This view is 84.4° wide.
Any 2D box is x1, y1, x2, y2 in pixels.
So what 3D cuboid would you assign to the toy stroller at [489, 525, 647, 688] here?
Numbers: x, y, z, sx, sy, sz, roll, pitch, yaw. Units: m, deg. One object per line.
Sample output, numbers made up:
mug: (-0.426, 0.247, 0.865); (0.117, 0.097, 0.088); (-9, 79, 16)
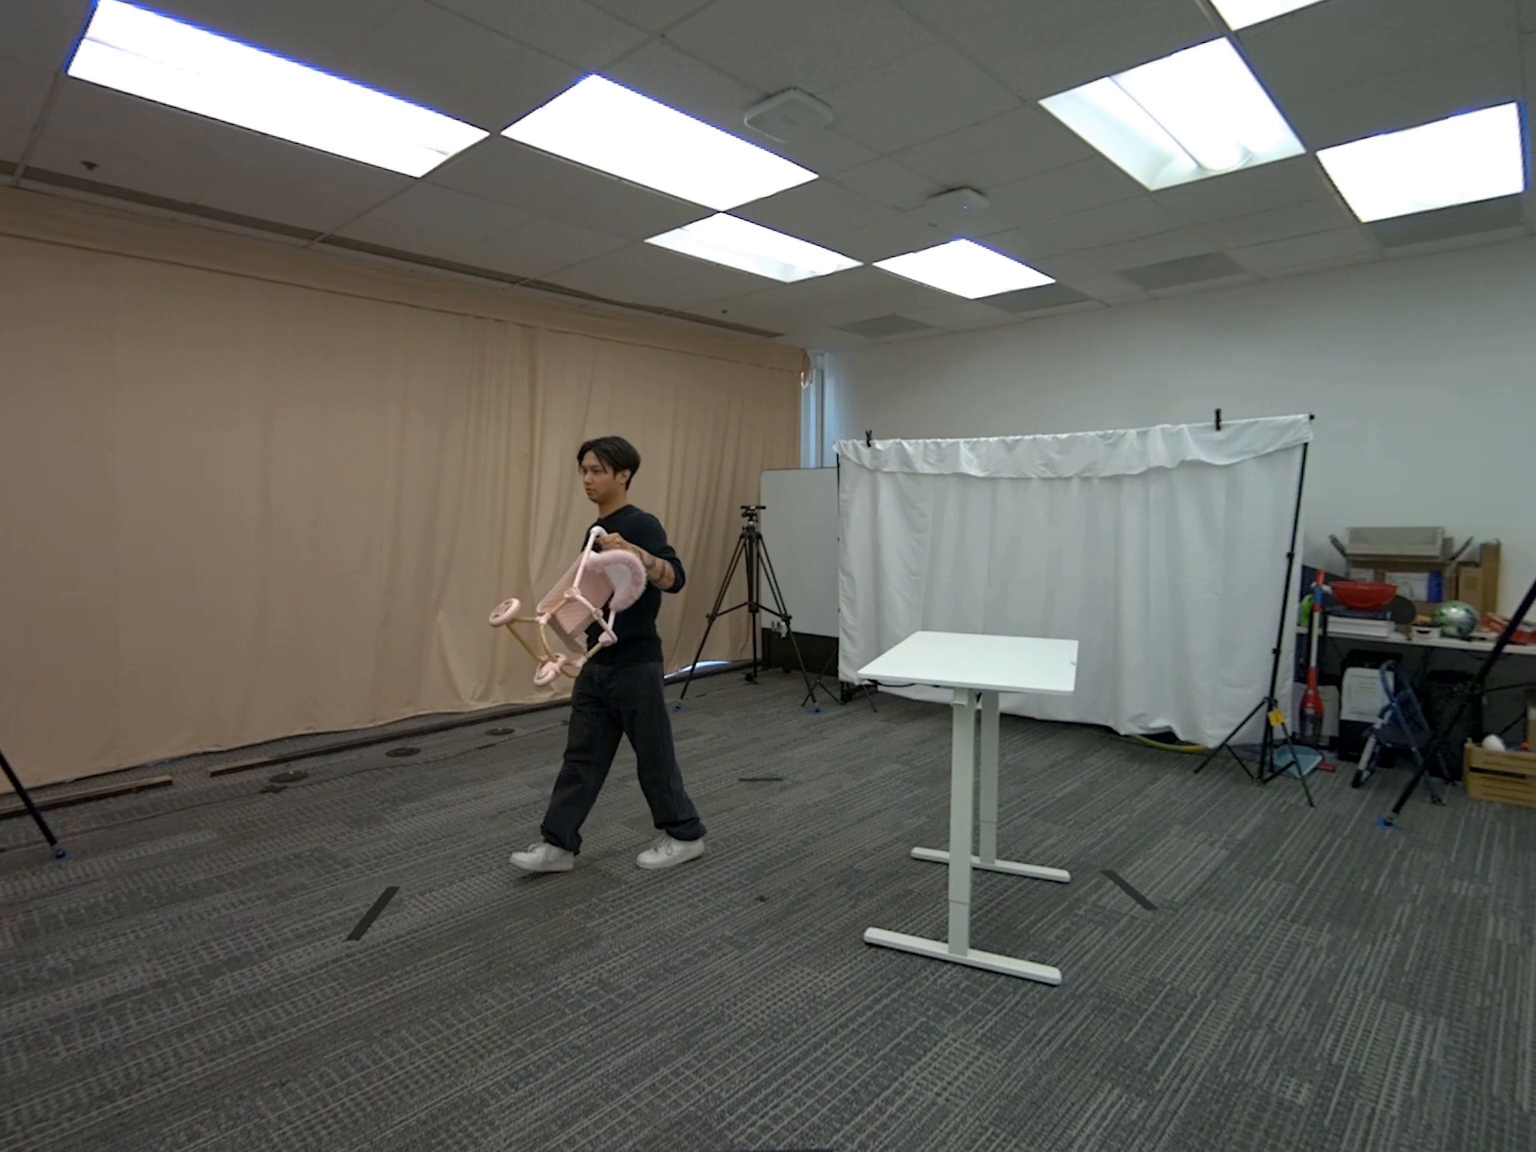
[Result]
toy stroller: (-0.574, 0.105, 2.567); (0.532, 0.274, 0.352); (-48, 30, -22)
